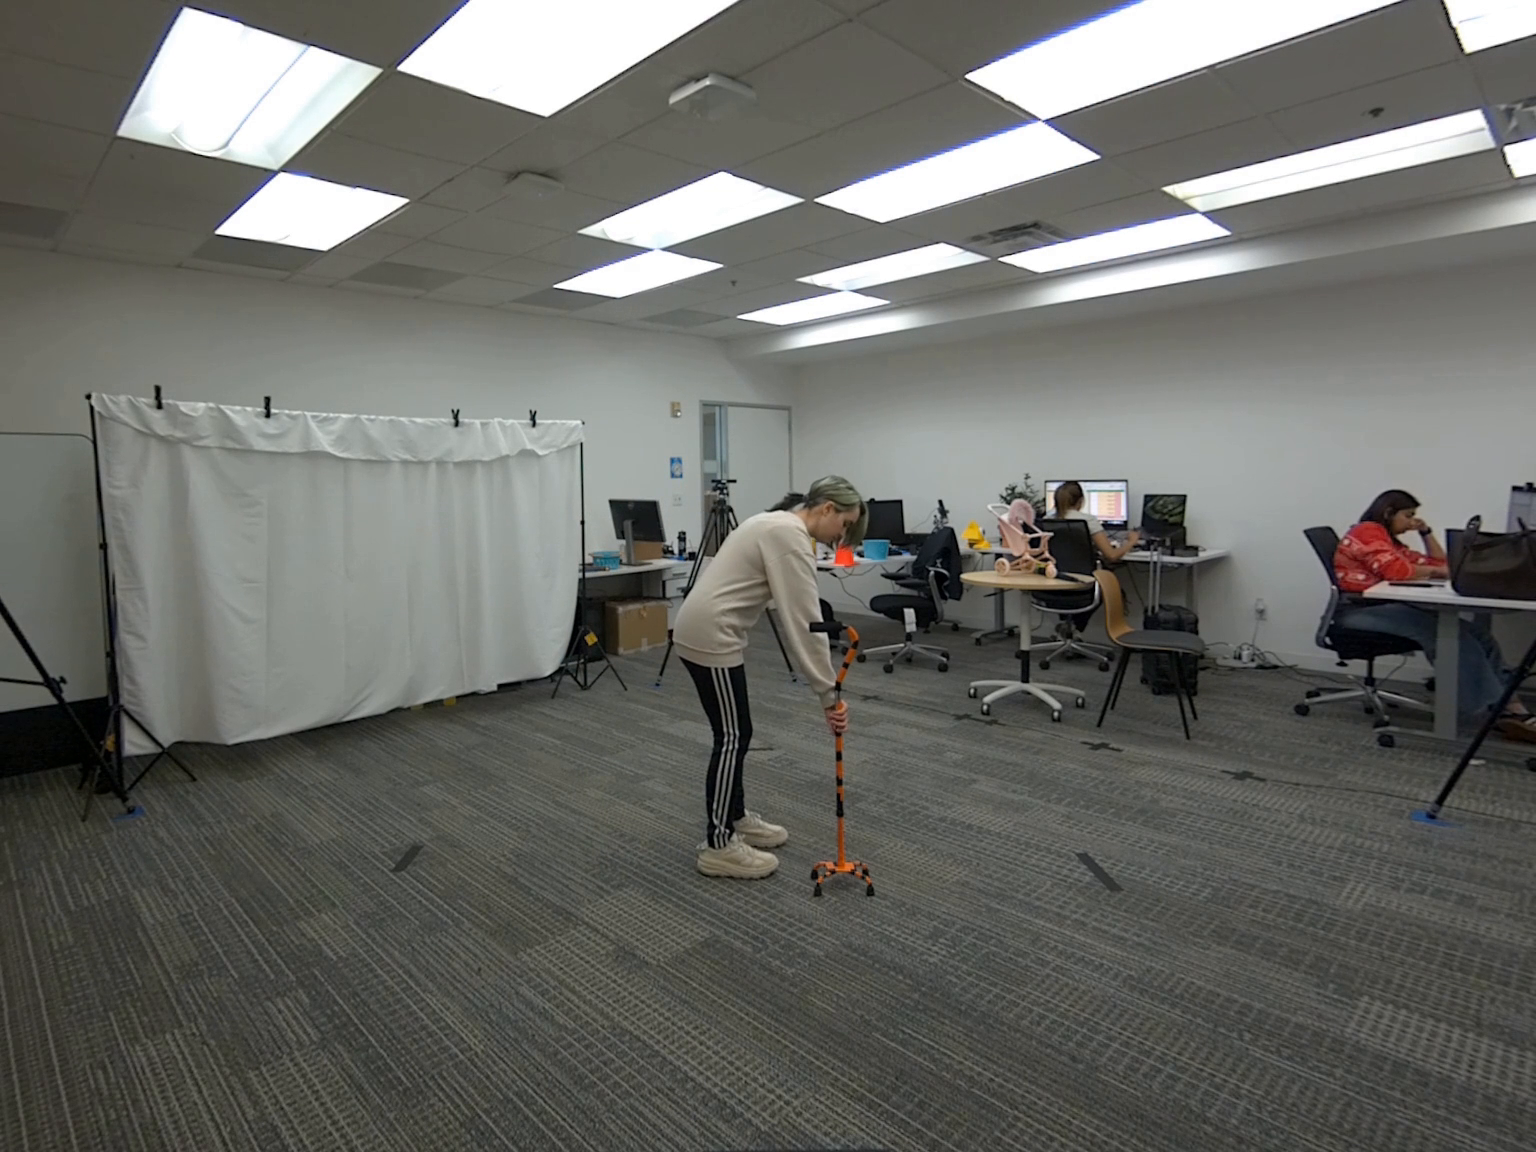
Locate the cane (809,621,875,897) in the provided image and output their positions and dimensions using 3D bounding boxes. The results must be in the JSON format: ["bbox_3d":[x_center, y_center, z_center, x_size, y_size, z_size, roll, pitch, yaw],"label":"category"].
[{"bbox_3d":[0.250,0.610,2.890,0.206,0.904,0.152,0,5,-1],"label":"cane"}]
